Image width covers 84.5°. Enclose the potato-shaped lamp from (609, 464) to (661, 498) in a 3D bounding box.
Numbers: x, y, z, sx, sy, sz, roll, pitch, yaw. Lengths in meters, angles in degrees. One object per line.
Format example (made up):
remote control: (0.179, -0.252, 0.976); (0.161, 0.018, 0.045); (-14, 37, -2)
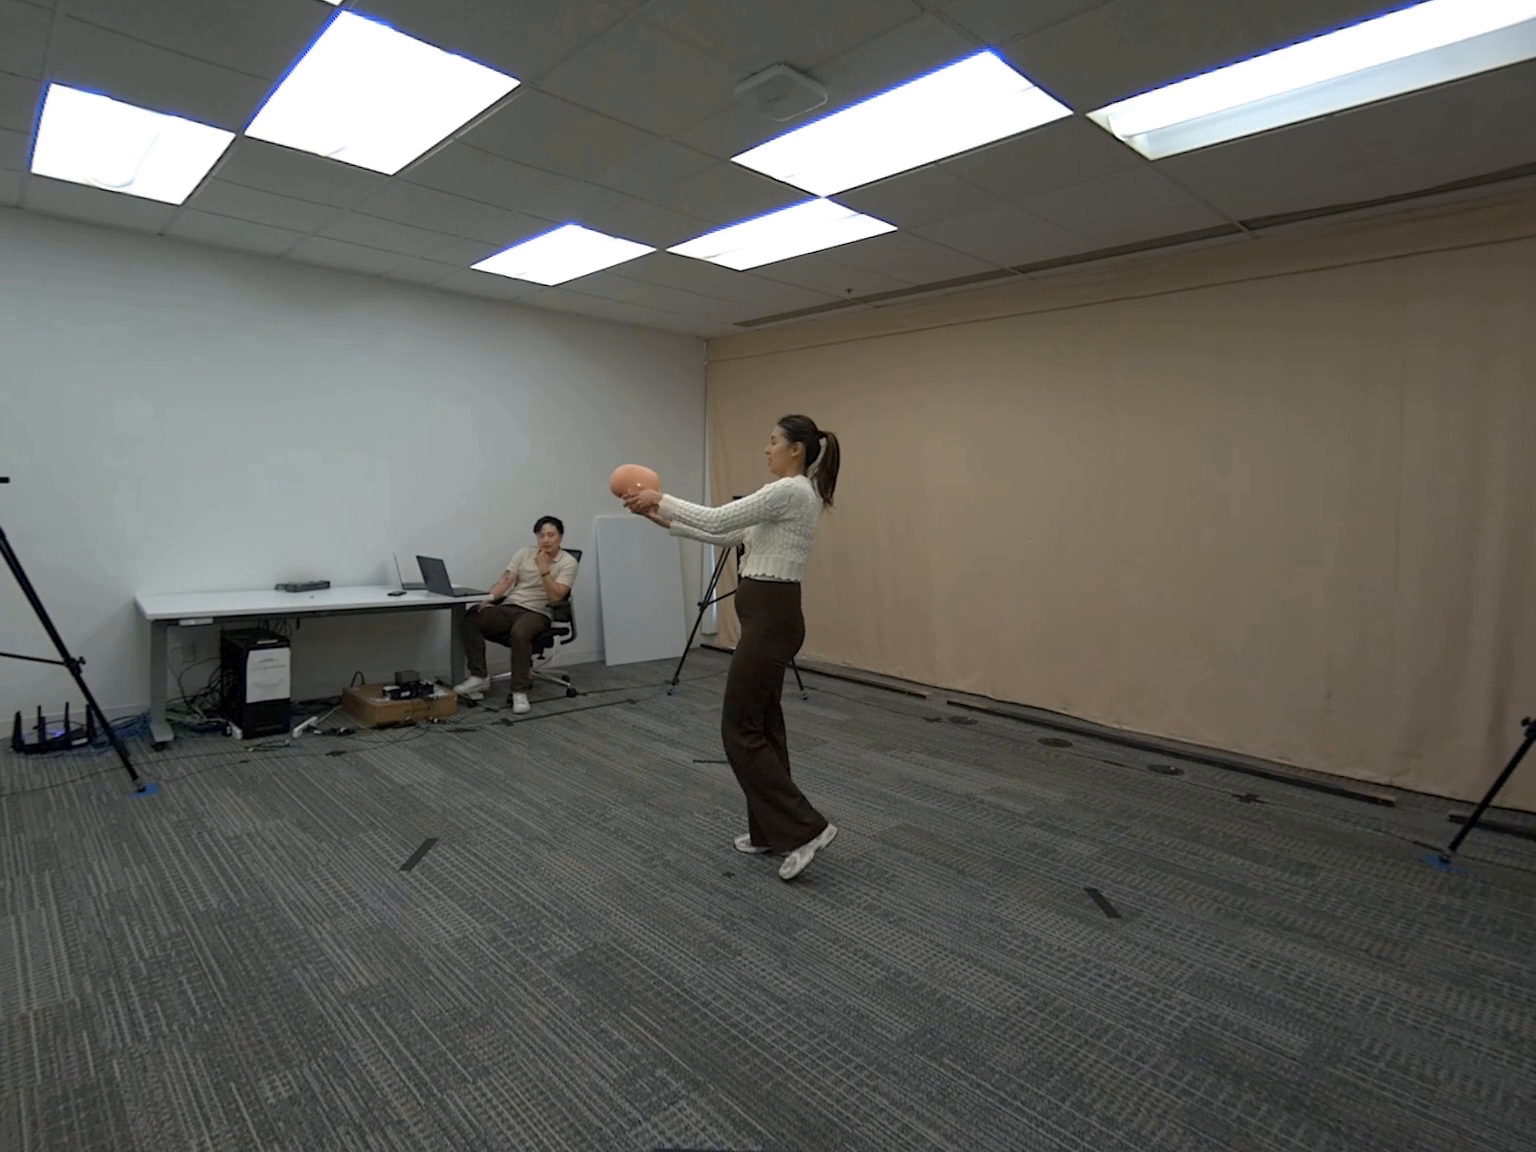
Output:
potato-shaped lamp: (-0.530, -0.355, 3.344); (0.196, 0.172, 0.165); (17, -13, -11)
